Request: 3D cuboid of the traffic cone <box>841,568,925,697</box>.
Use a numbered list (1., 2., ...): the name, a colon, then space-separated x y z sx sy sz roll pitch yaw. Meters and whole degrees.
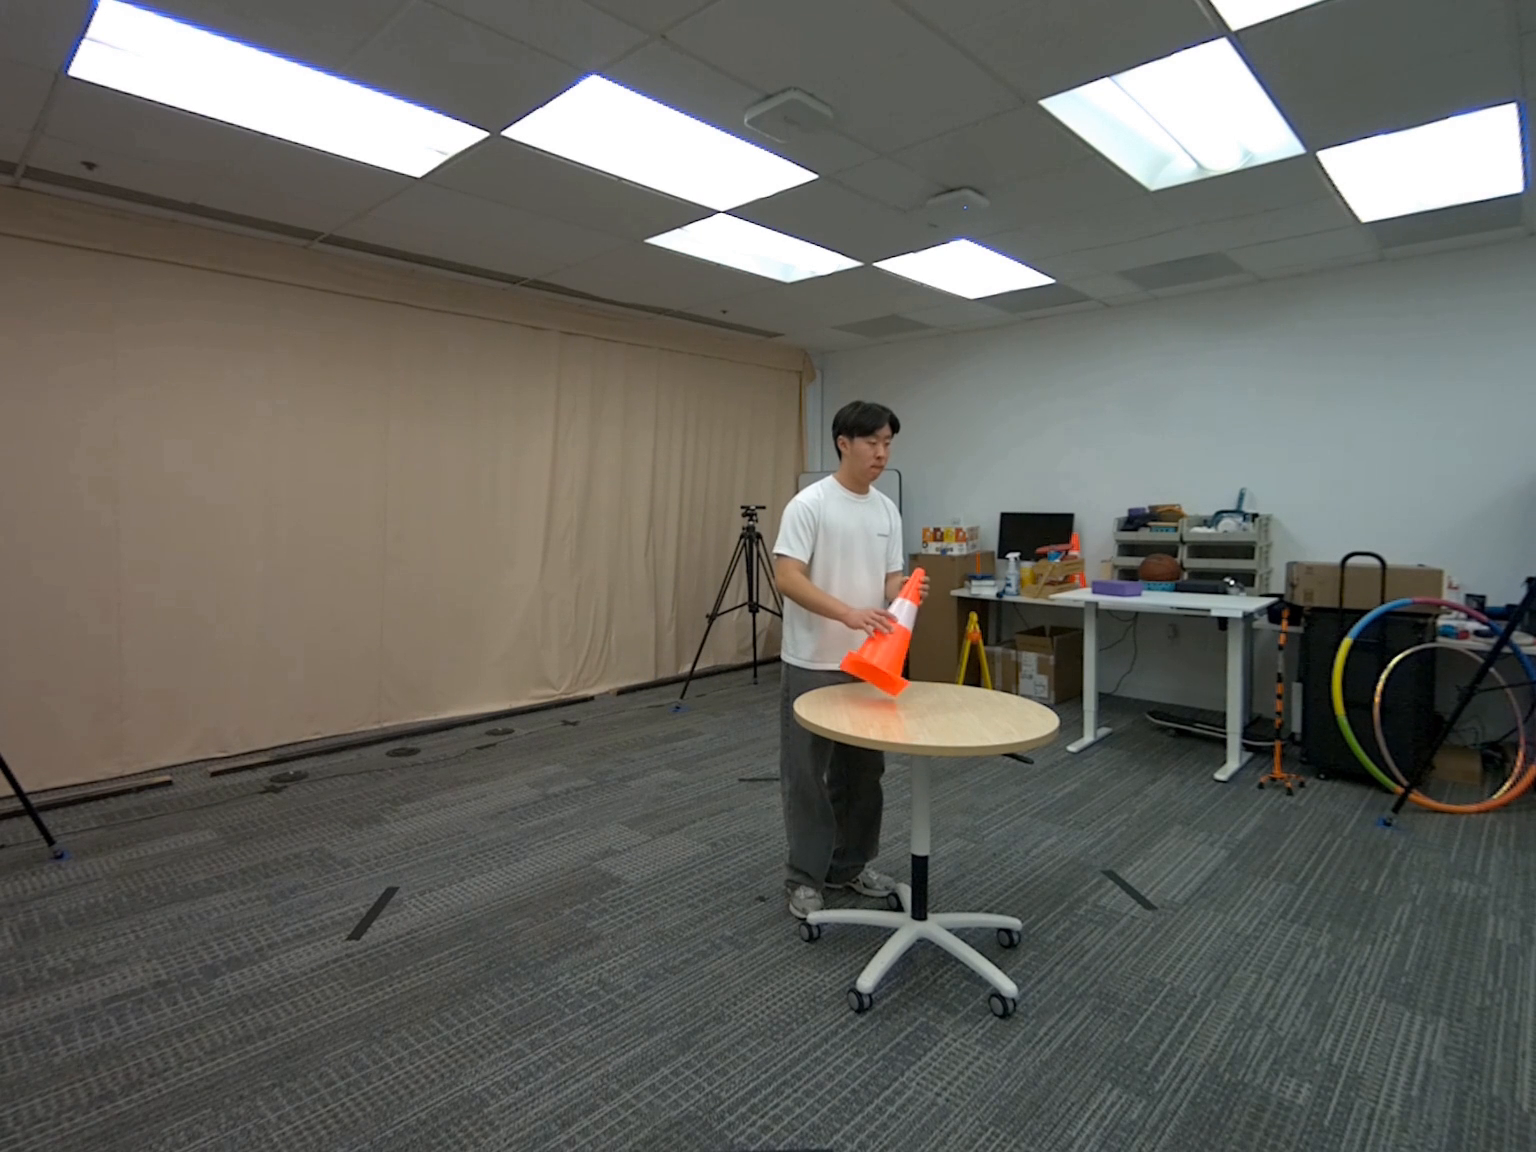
1. traffic cone: 0.395 0.151 2.629 0.207 0.384 0.201 25 -19 5
